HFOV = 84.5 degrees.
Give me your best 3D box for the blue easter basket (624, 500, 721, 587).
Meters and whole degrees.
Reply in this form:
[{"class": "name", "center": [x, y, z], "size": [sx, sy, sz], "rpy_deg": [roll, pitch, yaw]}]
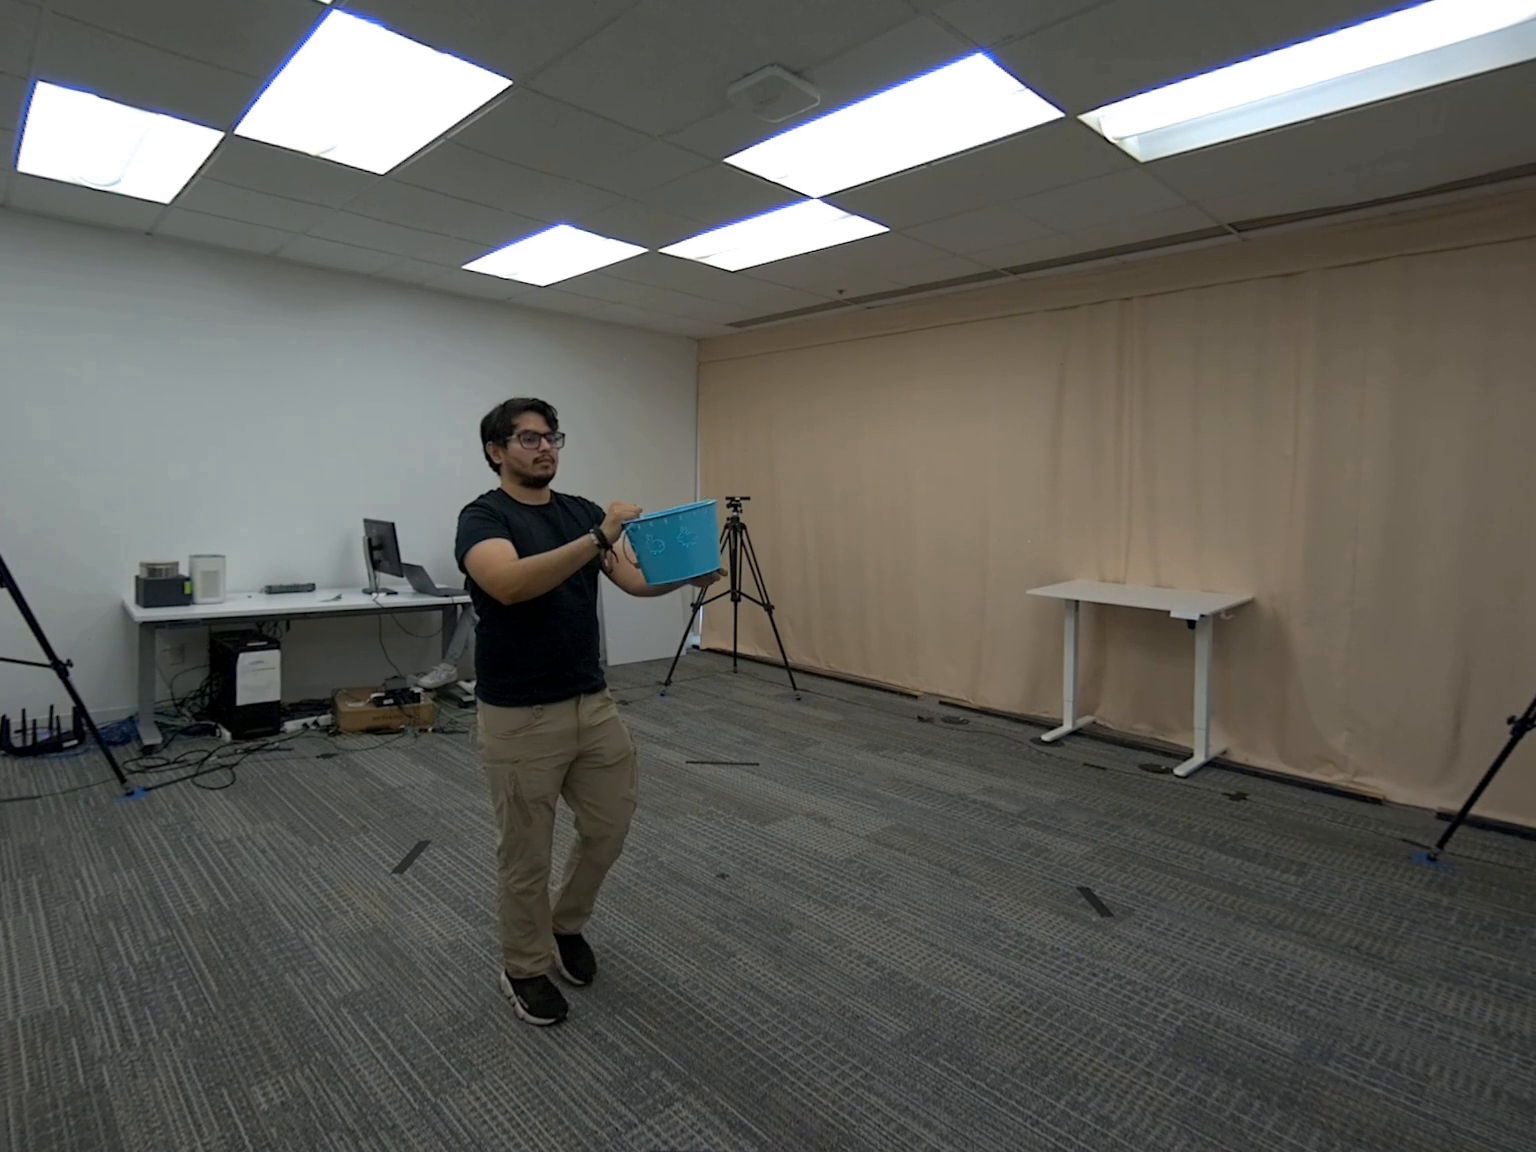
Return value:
[{"class": "blue easter basket", "center": [-0.229, -0.075, 1.929], "size": [0.243, 0.155, 0.245], "rpy_deg": [-11, 8, 0]}]
